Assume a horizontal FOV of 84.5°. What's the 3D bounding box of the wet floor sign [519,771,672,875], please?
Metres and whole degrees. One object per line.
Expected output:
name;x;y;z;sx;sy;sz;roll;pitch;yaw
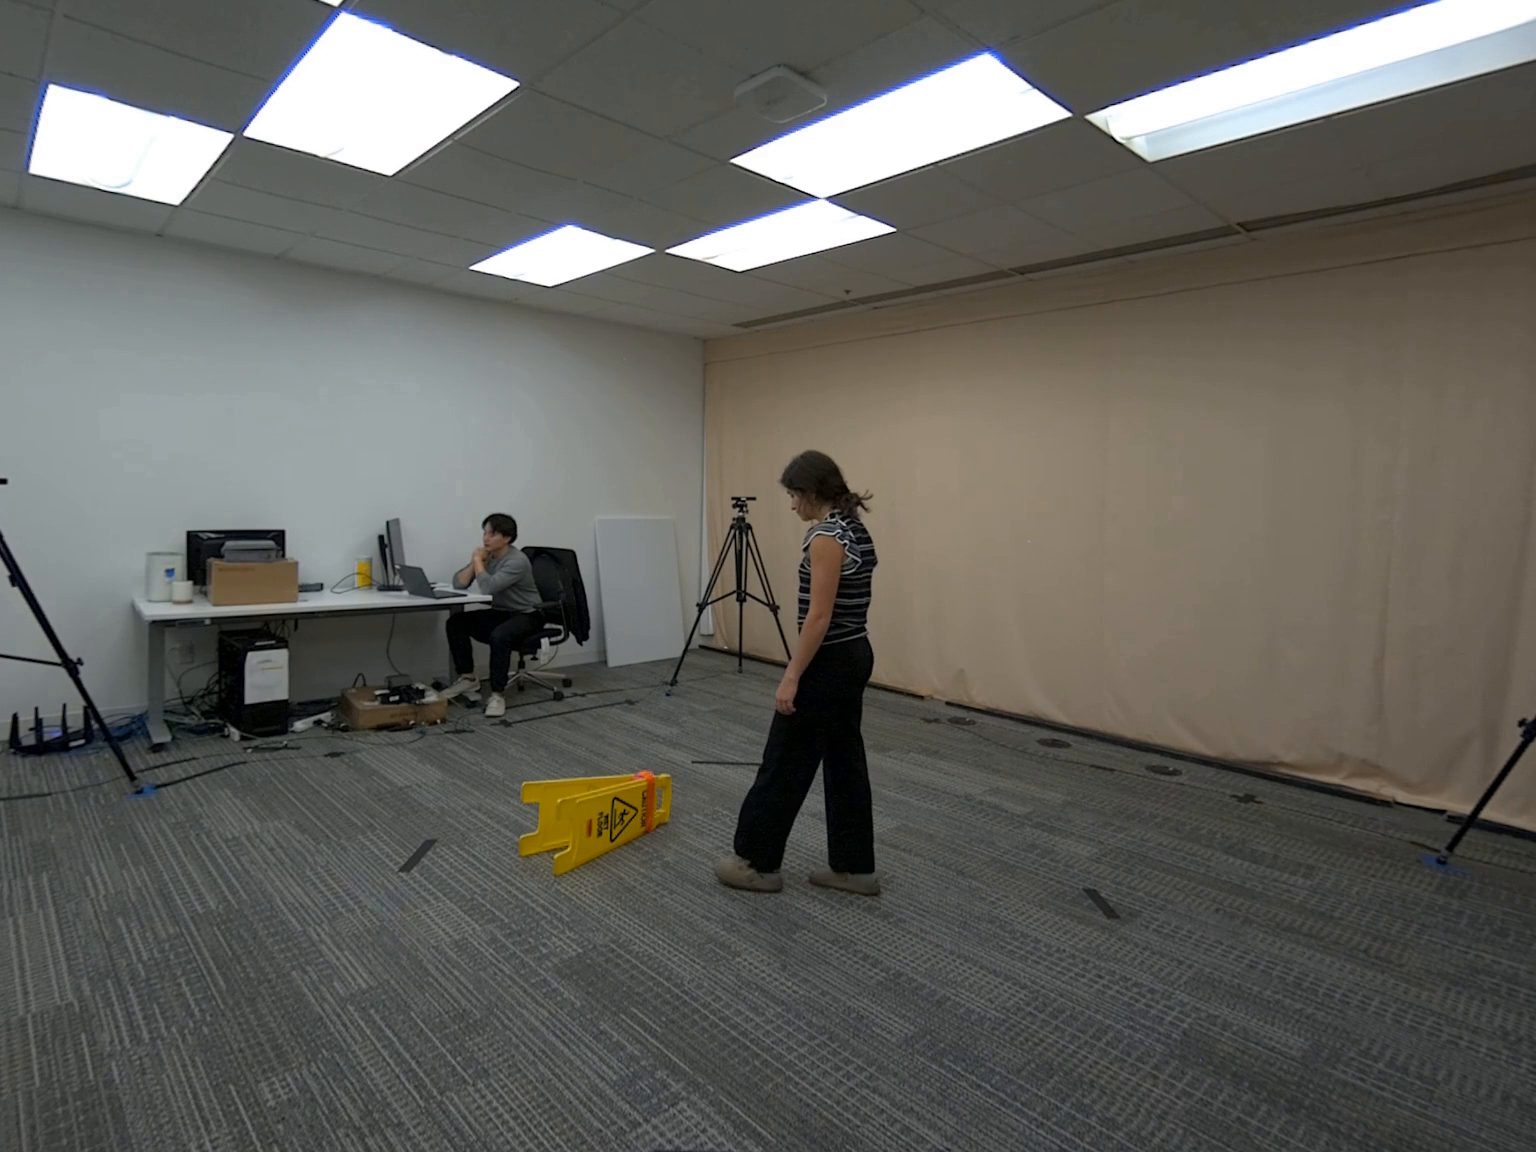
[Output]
wet floor sign;-0.654;0.948;3.379;0.297;0.282;0.630;4;2;43
